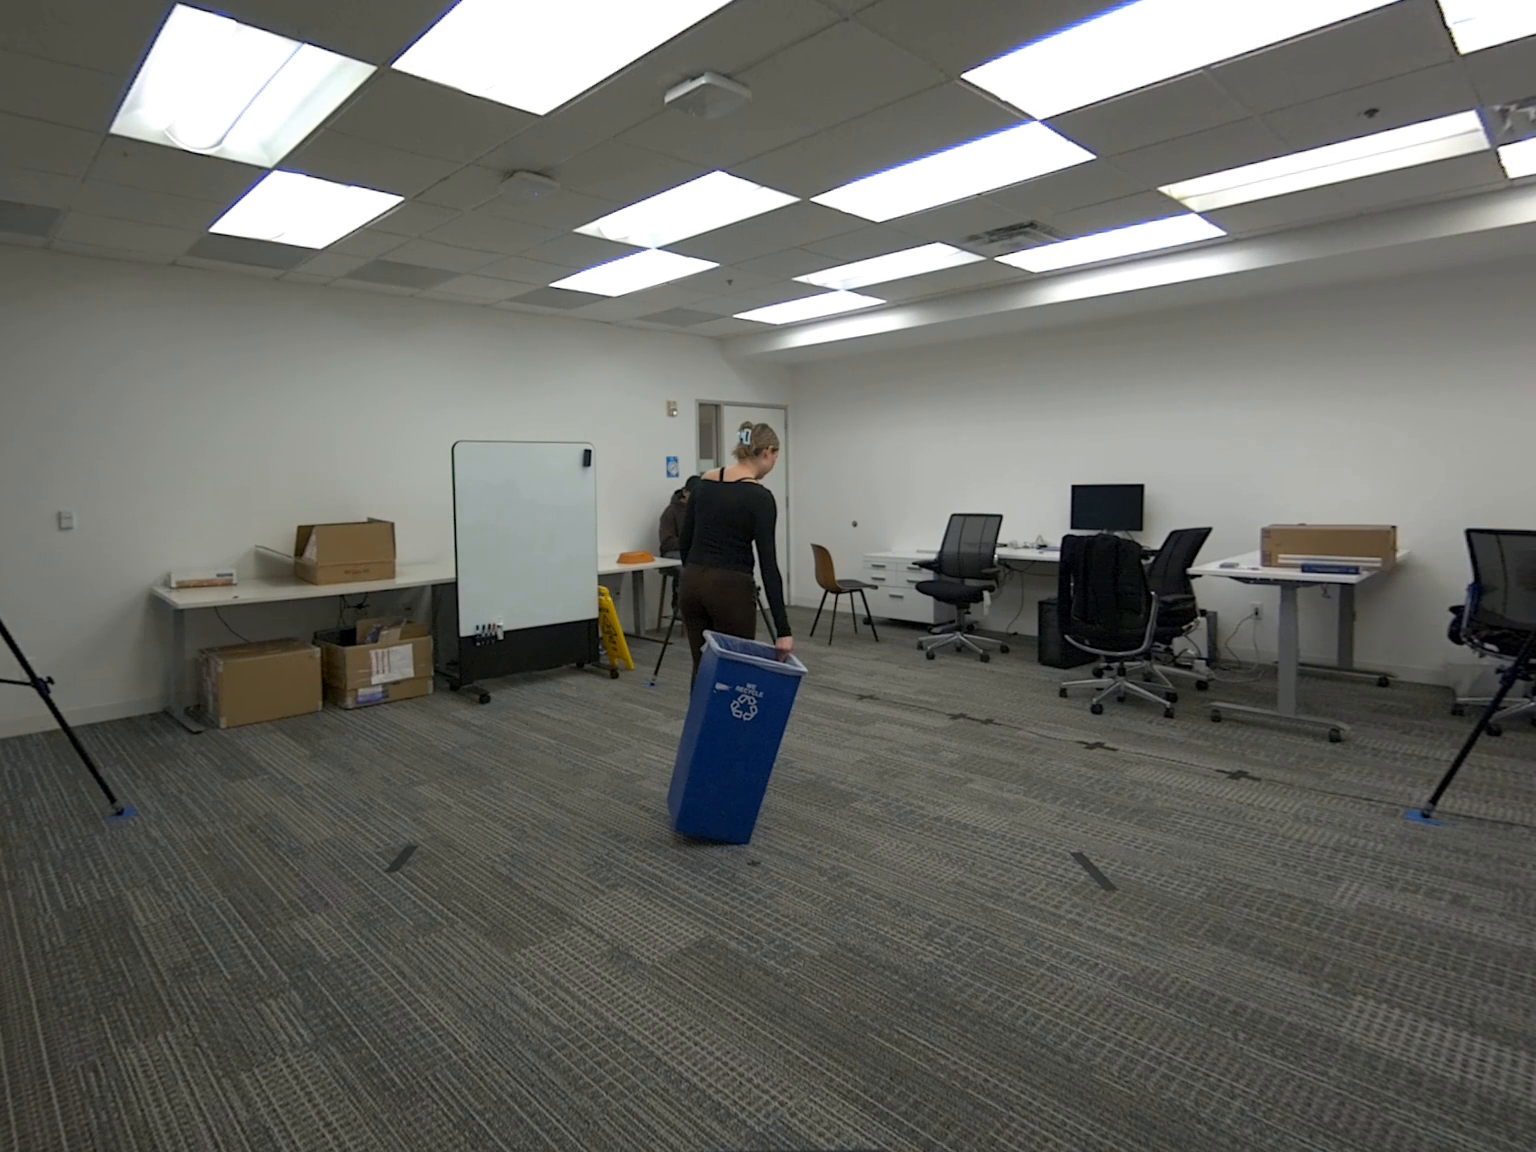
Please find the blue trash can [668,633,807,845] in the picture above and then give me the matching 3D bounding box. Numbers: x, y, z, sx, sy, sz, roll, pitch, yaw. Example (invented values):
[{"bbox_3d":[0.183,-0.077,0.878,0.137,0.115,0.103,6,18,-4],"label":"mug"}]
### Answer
[{"bbox_3d":[-0.146,0.631,3.376,0.370,0.712,0.383,14,3,-11],"label":"blue trash can"}]
